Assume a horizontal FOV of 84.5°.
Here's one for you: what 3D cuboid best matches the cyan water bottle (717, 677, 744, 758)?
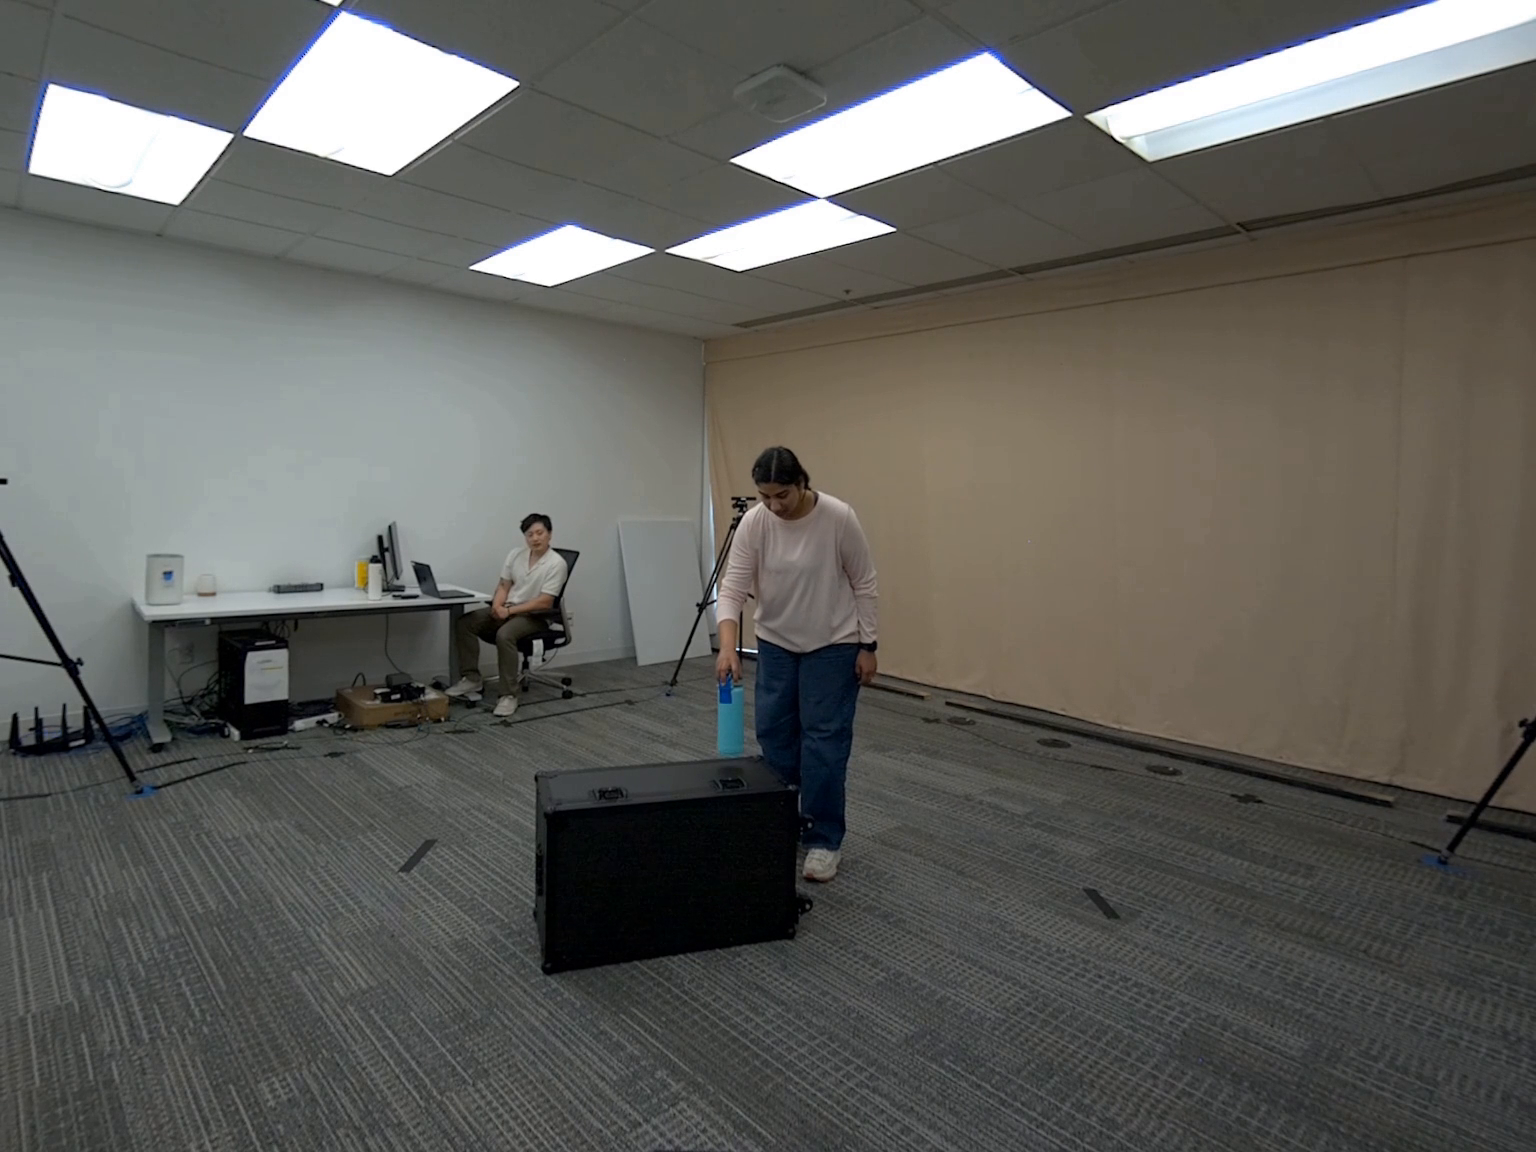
[{"bbox_3d":[-0.135,0.462,2.840,0.092,0.283,0.092,2,0,-1],"label":"cyan water bottle"}]
